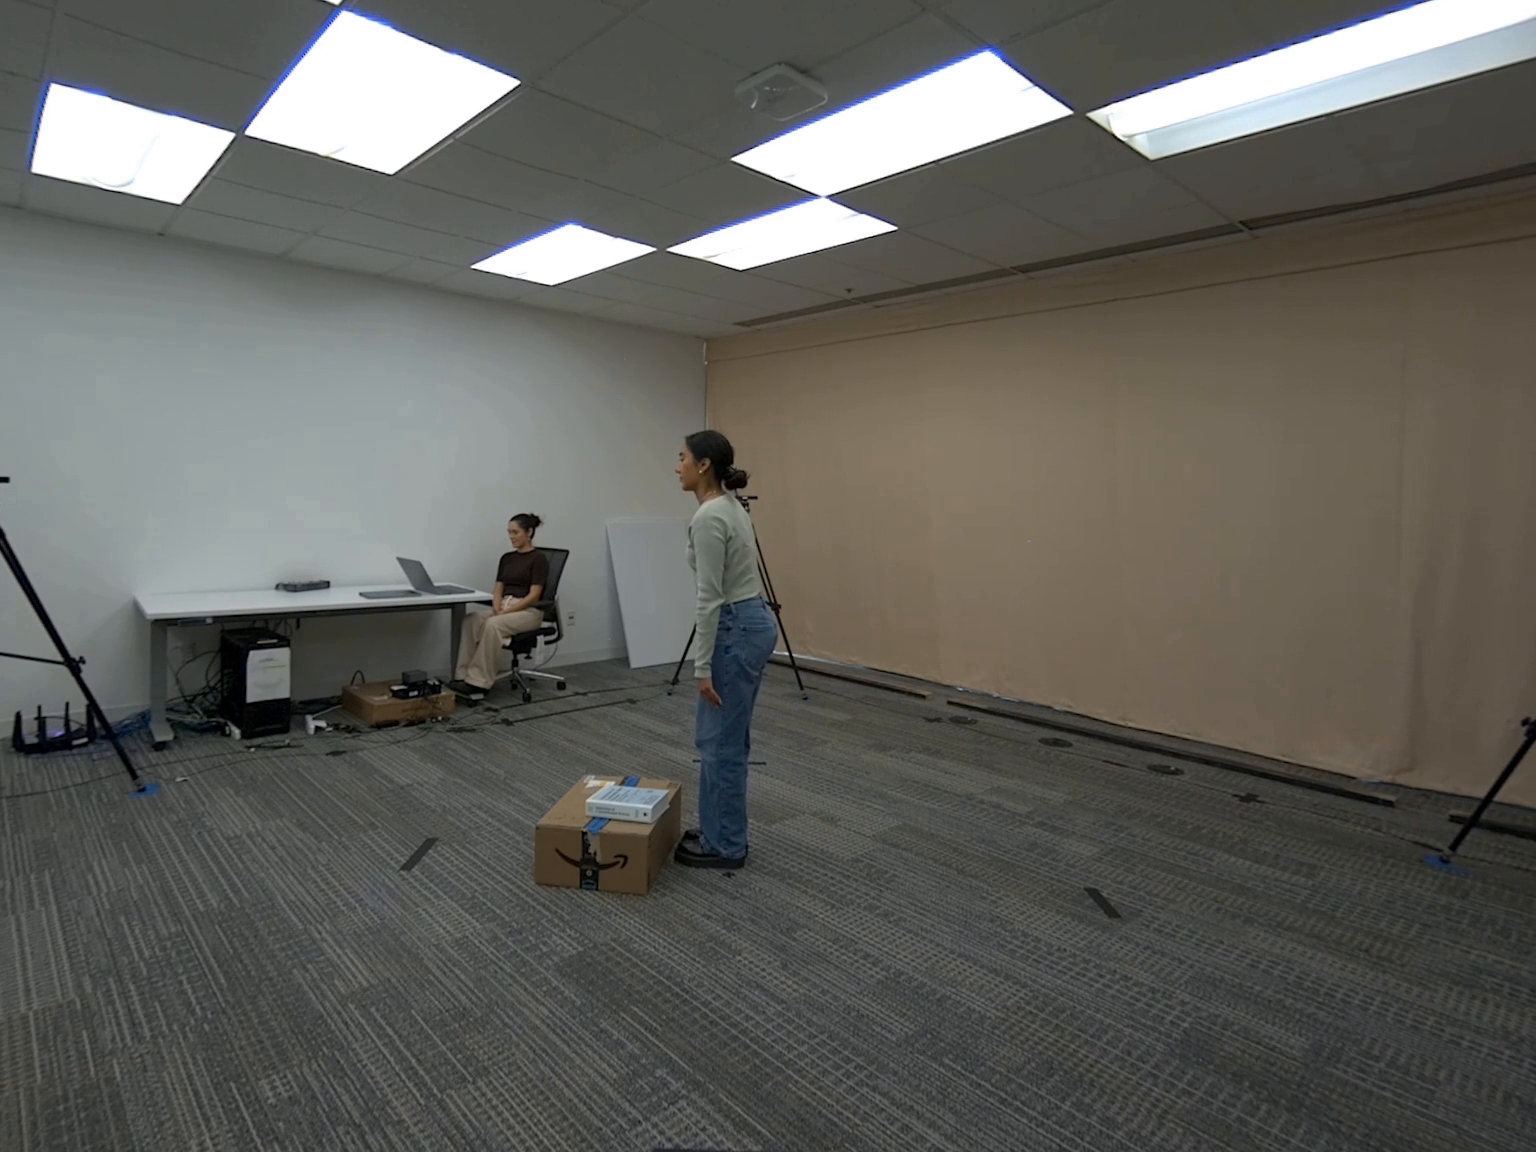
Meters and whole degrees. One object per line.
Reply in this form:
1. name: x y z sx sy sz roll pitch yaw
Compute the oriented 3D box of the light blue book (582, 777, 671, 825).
1. light blue book: -0.527 0.847 3.145 0.264 0.059 0.189 1 4 15
